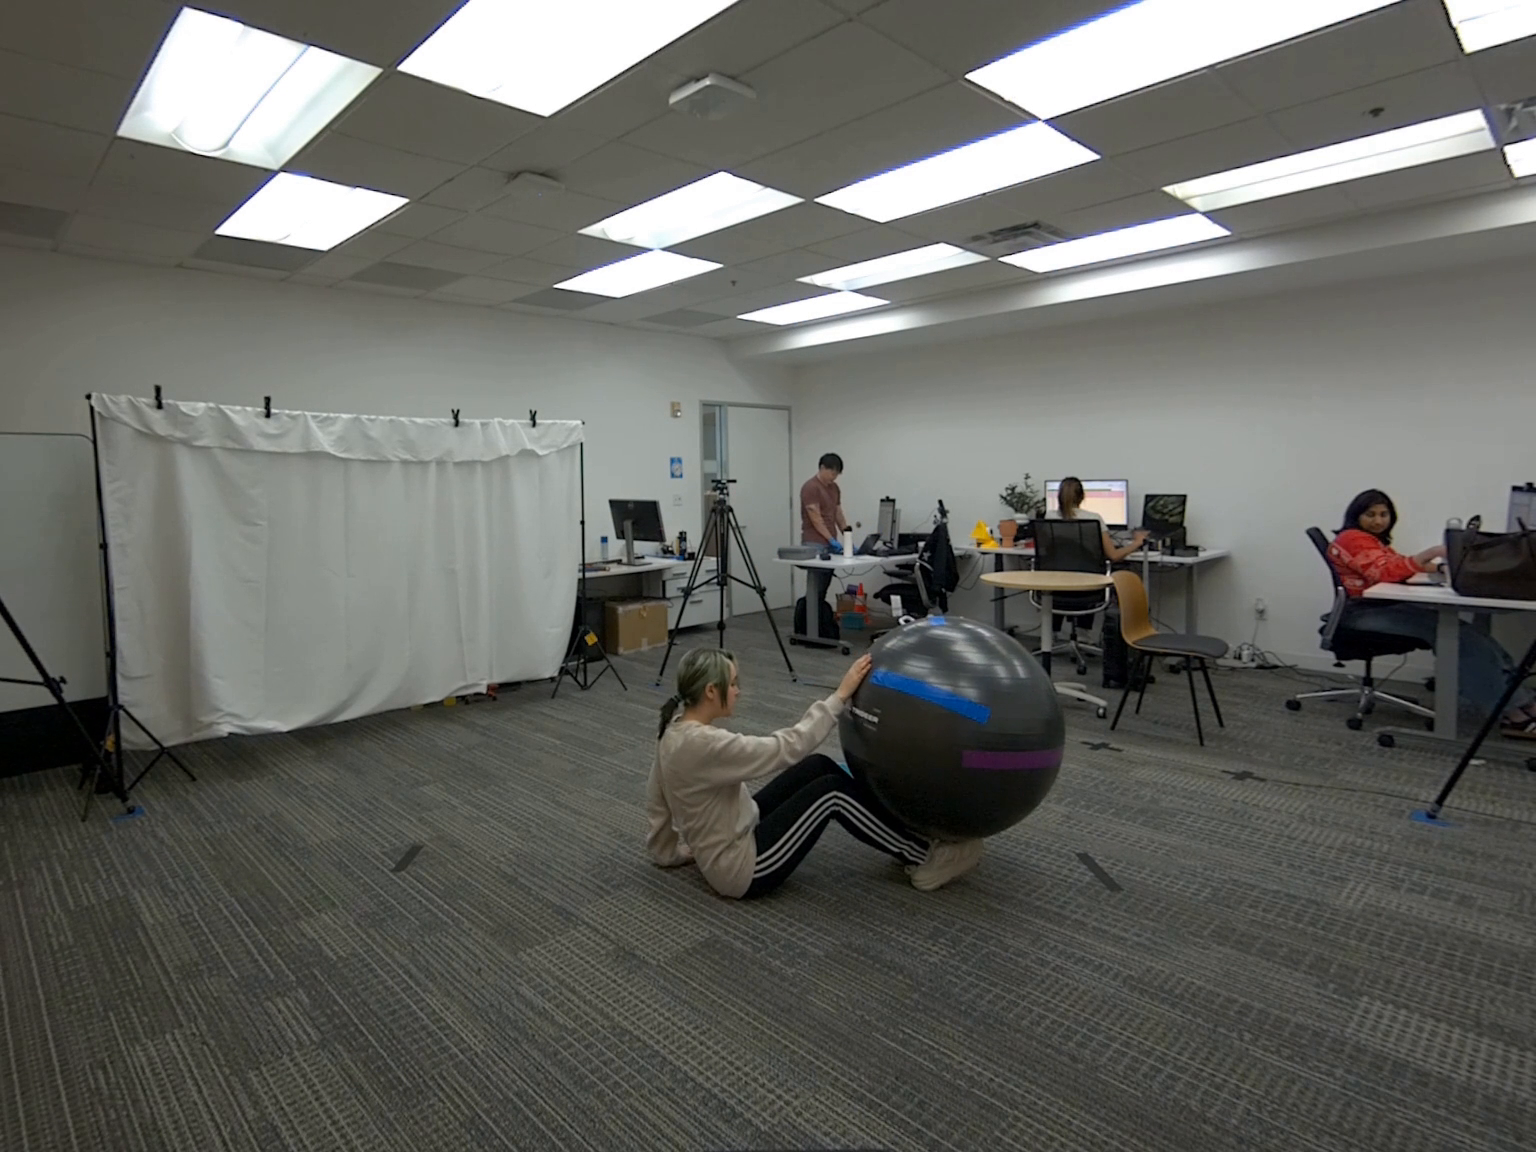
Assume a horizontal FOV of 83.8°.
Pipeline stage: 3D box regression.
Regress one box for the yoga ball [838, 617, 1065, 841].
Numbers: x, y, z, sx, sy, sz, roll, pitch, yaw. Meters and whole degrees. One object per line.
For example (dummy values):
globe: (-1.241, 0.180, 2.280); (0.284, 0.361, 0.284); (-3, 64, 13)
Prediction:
yoga ball: (0.642, 0.521, 2.982); (0.757, 0.755, 0.762); (-1, 5, -2)
